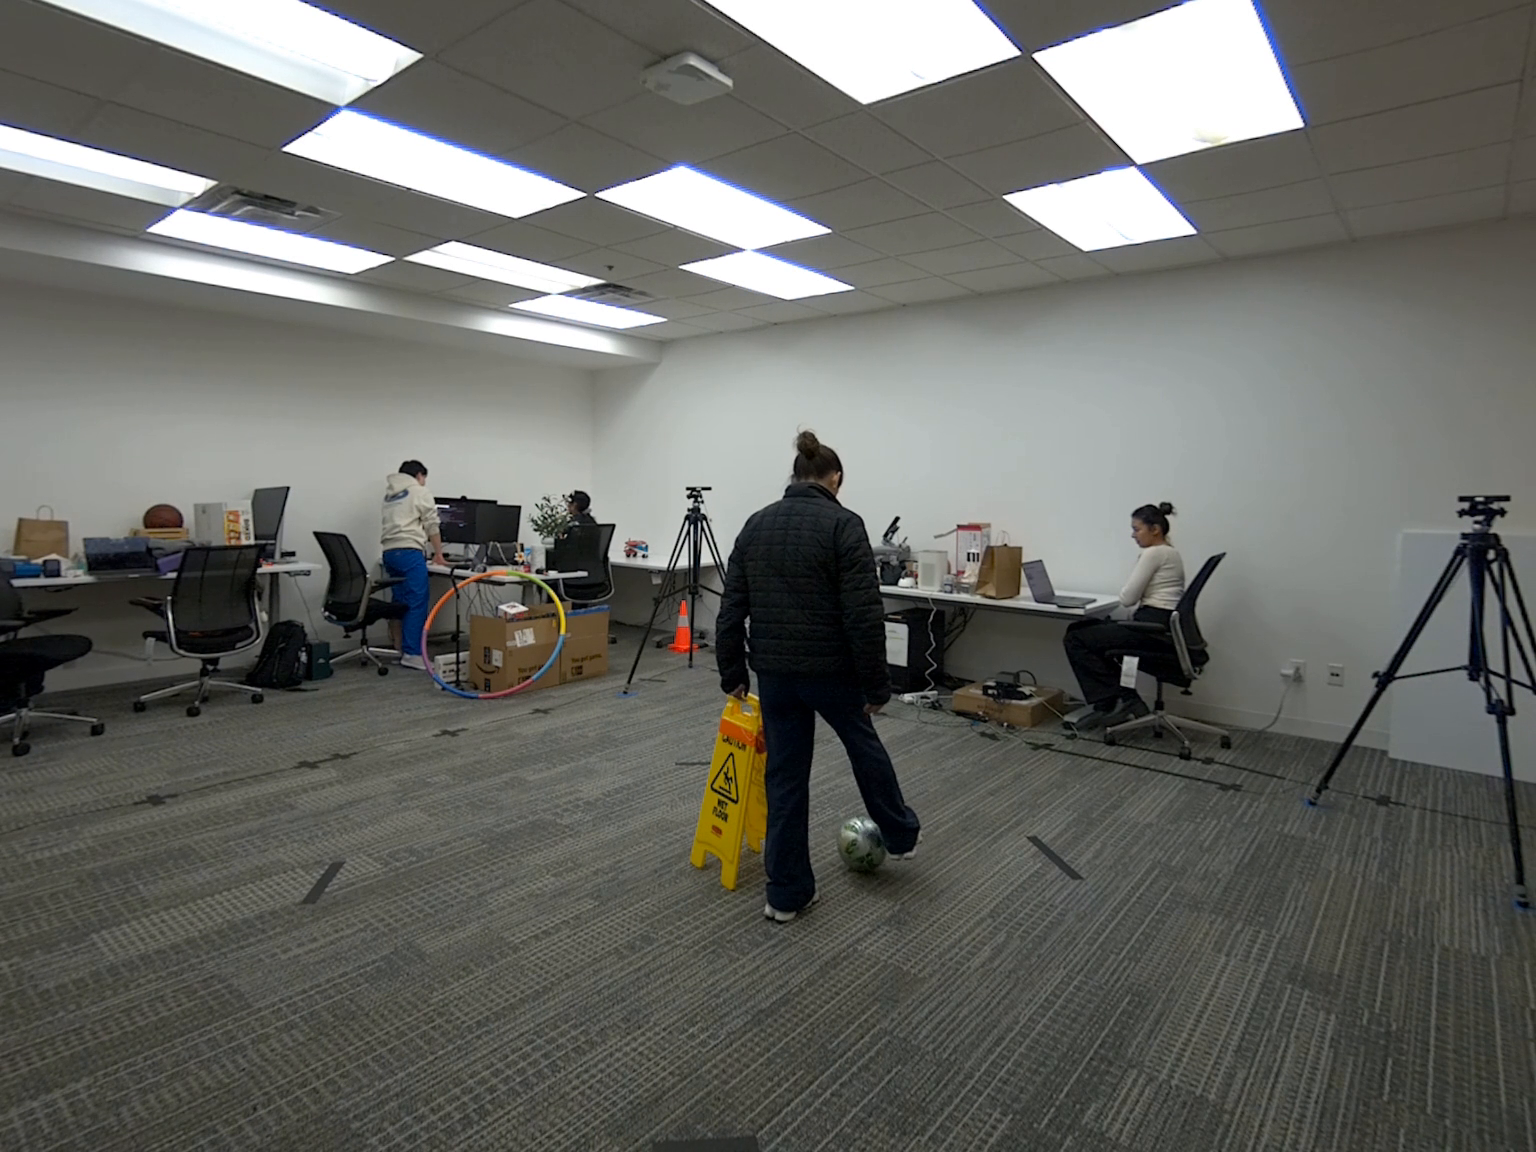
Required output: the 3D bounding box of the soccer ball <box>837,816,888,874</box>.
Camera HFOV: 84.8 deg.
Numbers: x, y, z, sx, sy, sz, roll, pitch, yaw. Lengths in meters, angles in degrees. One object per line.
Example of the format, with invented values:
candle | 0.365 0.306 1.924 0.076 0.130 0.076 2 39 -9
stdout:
soccer ball | 0.337 0.985 3.119 0.187 0.187 0.188 1 4 -2
